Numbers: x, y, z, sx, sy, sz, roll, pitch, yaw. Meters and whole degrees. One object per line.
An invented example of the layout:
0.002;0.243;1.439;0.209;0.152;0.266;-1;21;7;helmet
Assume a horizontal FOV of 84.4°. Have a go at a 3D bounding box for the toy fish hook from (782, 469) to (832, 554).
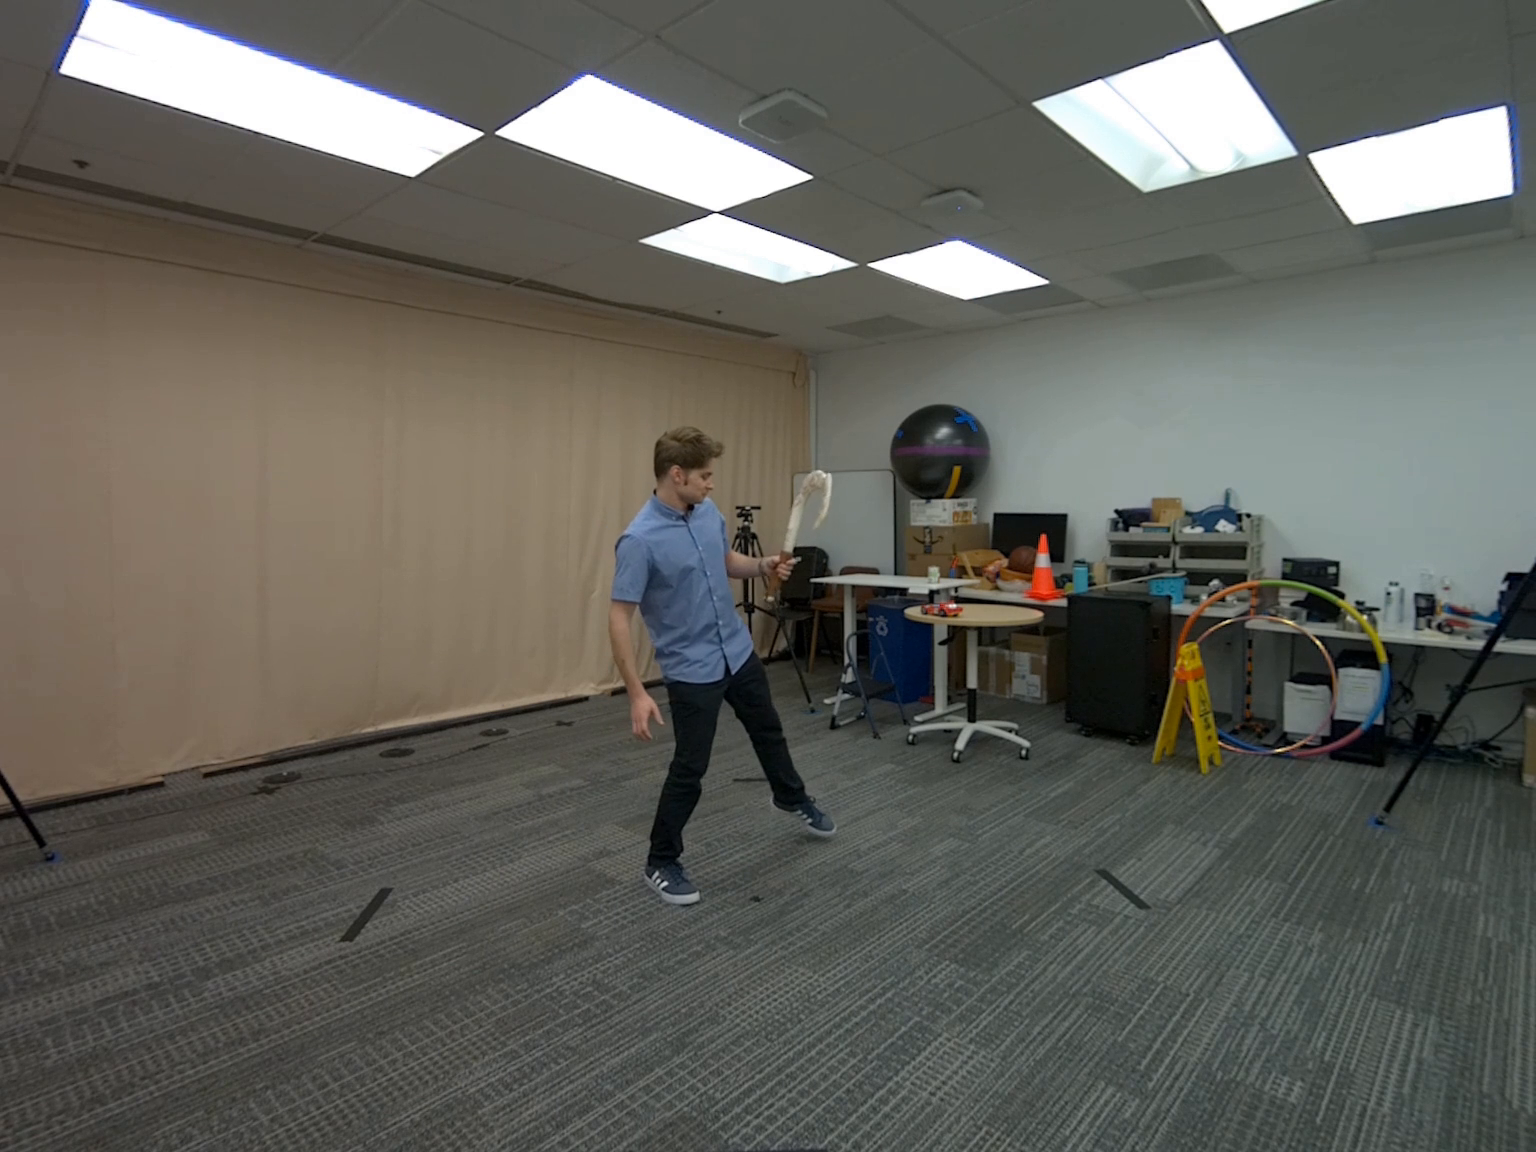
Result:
0.119;-0.117;2.942;0.047;0.506;0.231;17;8;-25;toy fish hook
